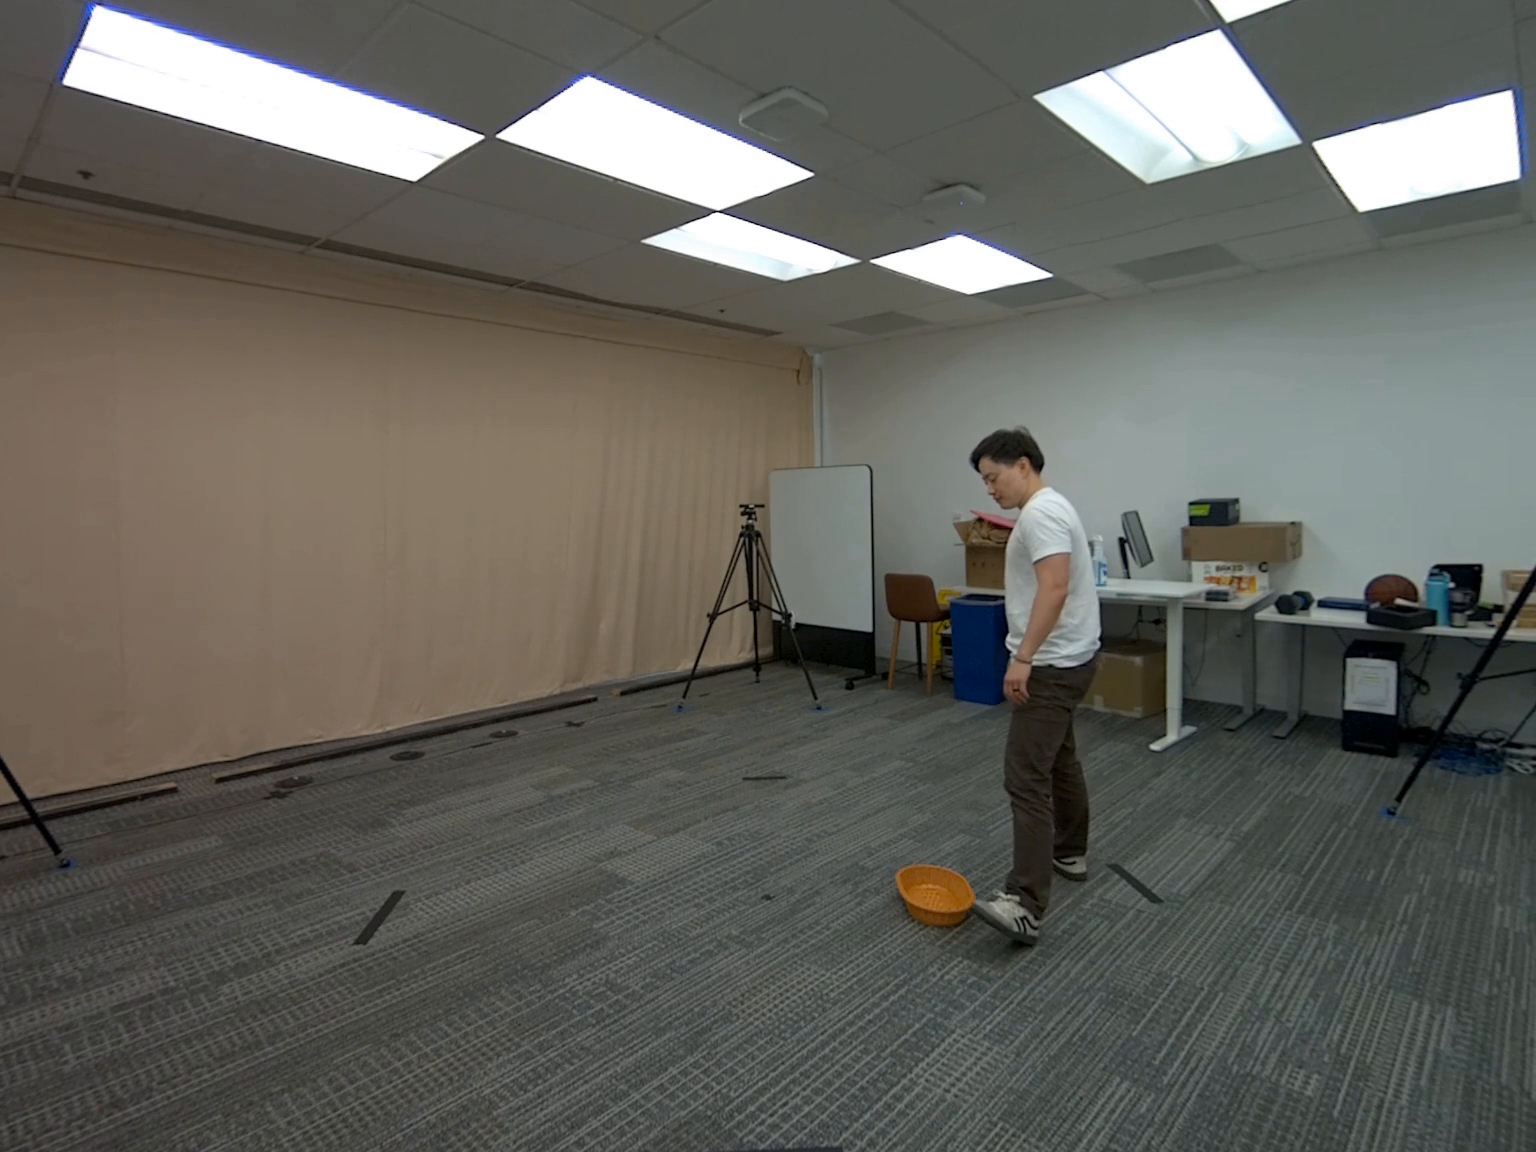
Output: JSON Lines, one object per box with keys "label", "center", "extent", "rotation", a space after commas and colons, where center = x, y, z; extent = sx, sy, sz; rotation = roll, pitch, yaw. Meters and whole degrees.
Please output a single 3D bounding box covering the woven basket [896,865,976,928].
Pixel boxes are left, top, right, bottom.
{"label": "woven basket", "center": [0.569, 1.100, 2.888], "extent": [0.254, 0.073, 0.350], "rotation": [0, 5, 3]}
